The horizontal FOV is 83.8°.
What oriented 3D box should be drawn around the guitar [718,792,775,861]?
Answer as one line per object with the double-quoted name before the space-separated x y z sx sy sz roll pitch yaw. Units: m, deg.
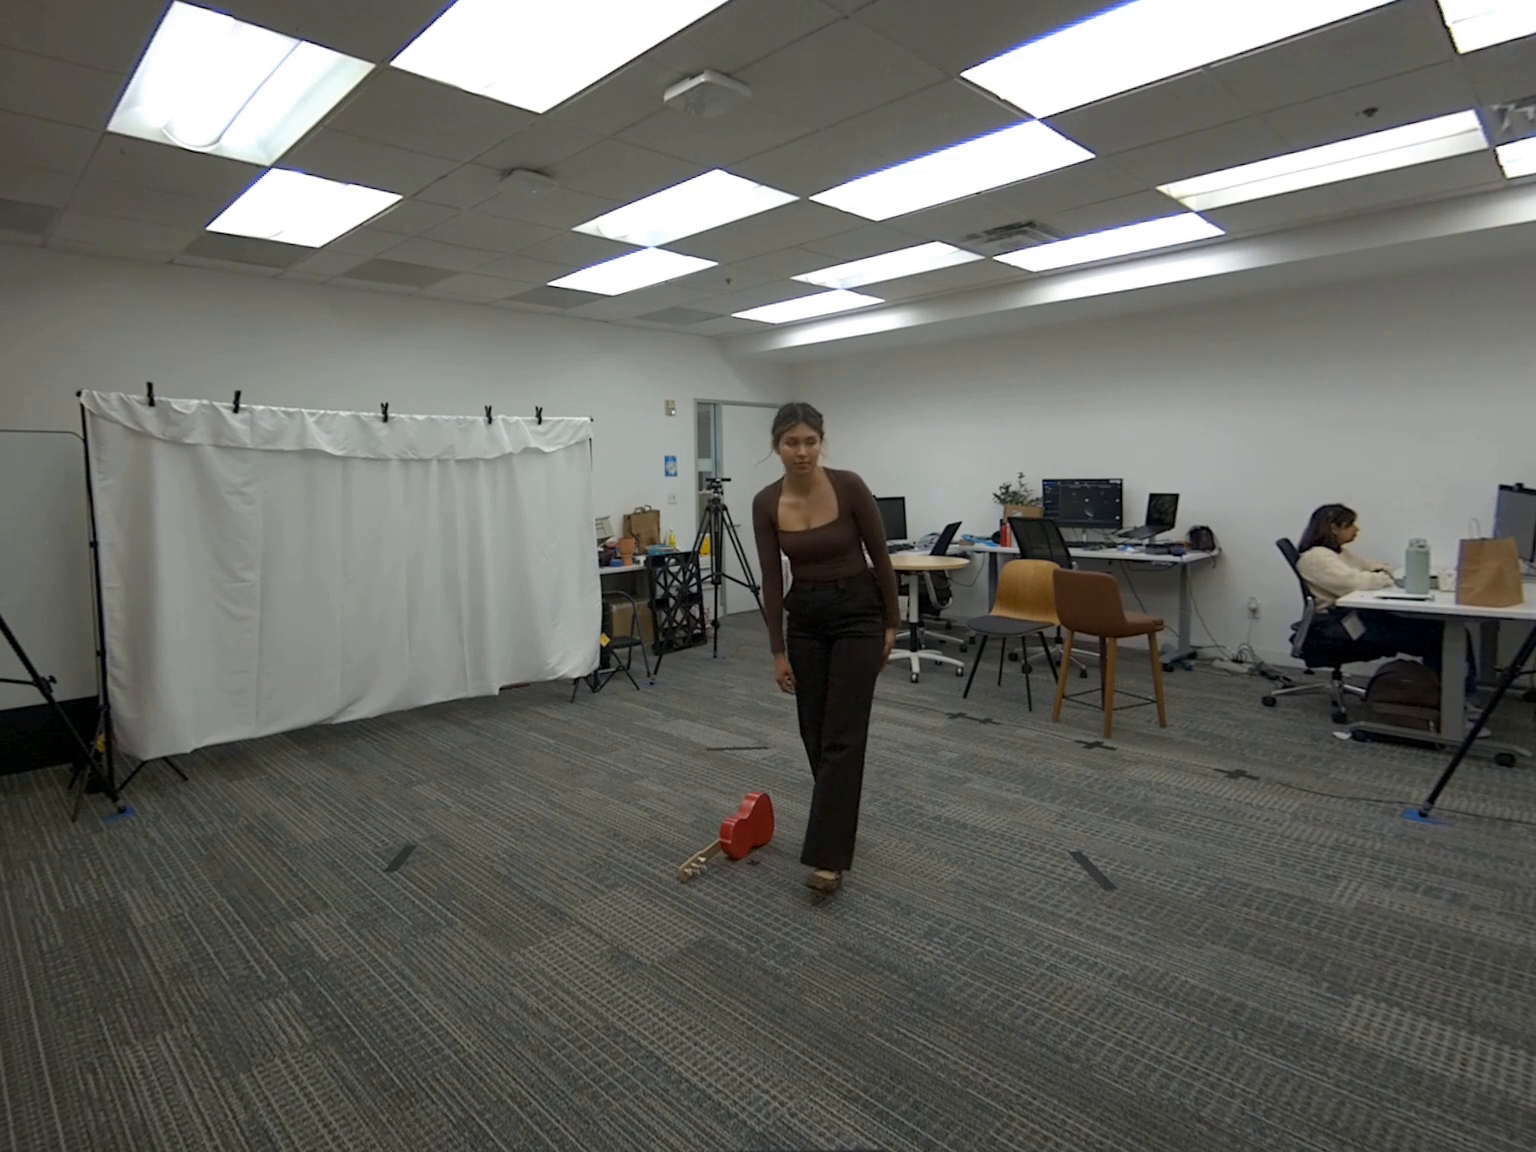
"guitar" -0.137 0.996 3.139 0.073 0.189 0.493 0 23 37
